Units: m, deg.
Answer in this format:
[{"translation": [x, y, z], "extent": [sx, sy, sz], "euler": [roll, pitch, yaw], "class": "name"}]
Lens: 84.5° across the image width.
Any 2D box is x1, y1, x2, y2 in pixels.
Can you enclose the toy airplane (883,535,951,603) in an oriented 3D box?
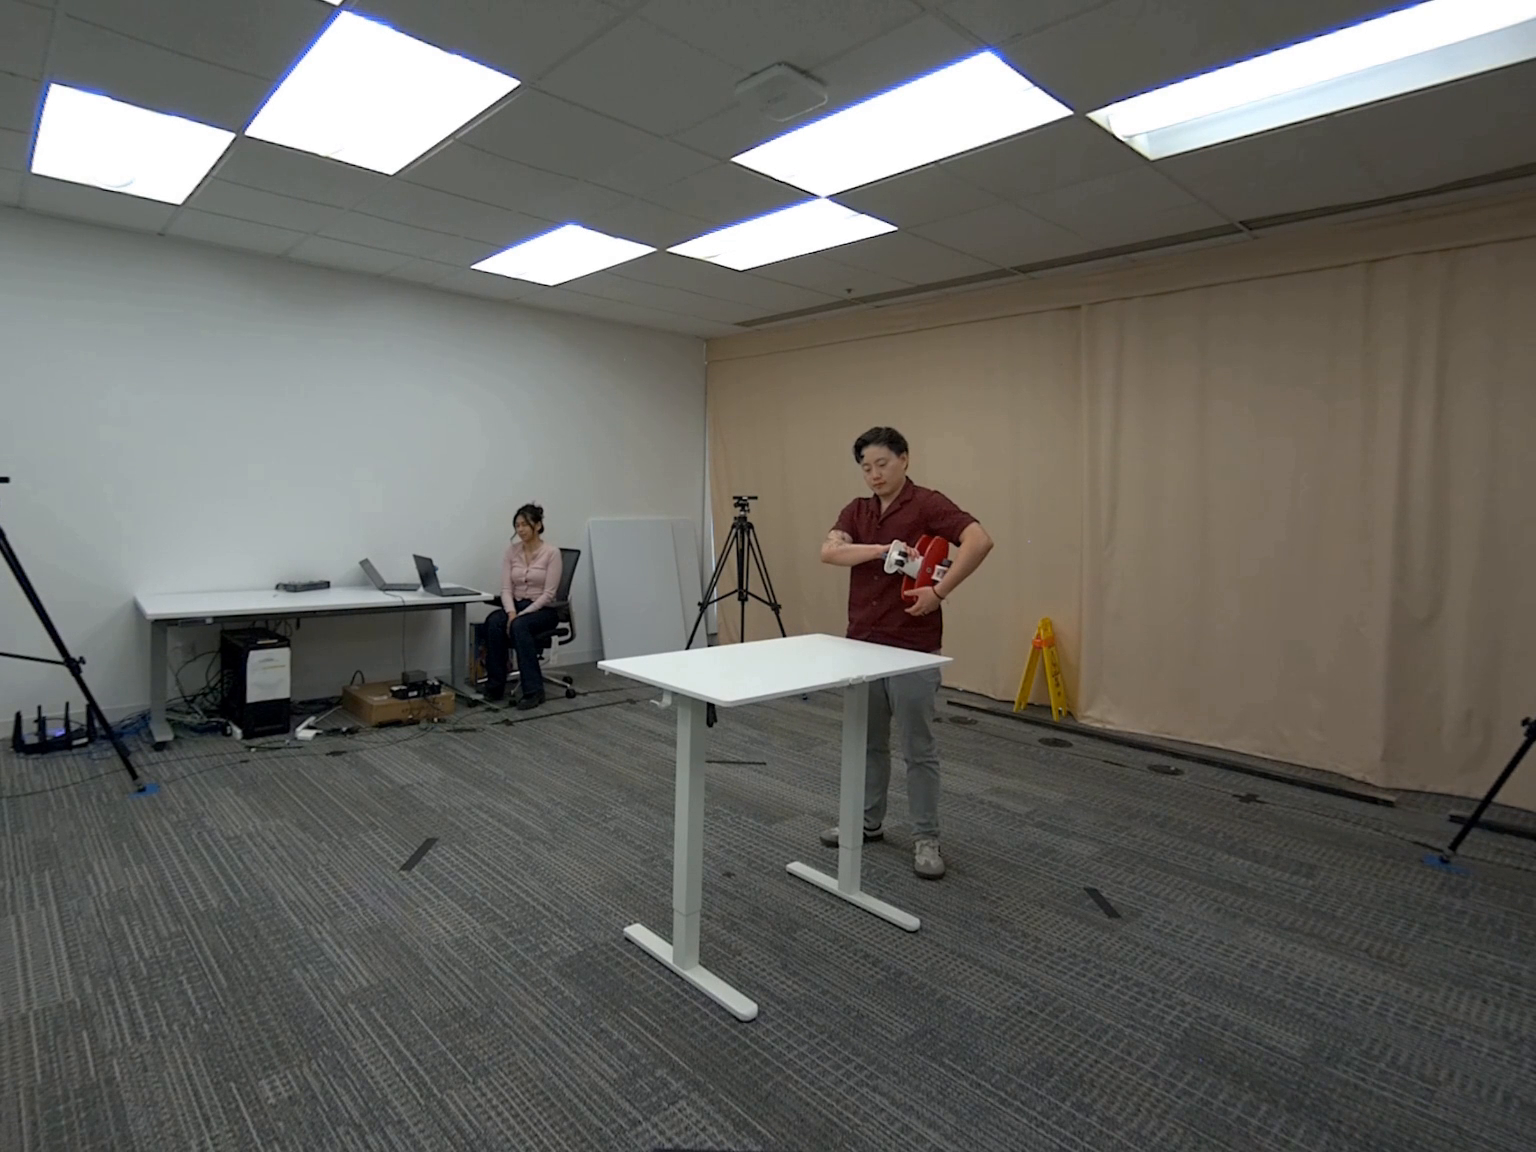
[{"translation": [0.533, -0.051, 3.056], "extent": [0.251, 0.257, 0.157], "euler": [-44, 6, -10], "class": "toy airplane"}]
